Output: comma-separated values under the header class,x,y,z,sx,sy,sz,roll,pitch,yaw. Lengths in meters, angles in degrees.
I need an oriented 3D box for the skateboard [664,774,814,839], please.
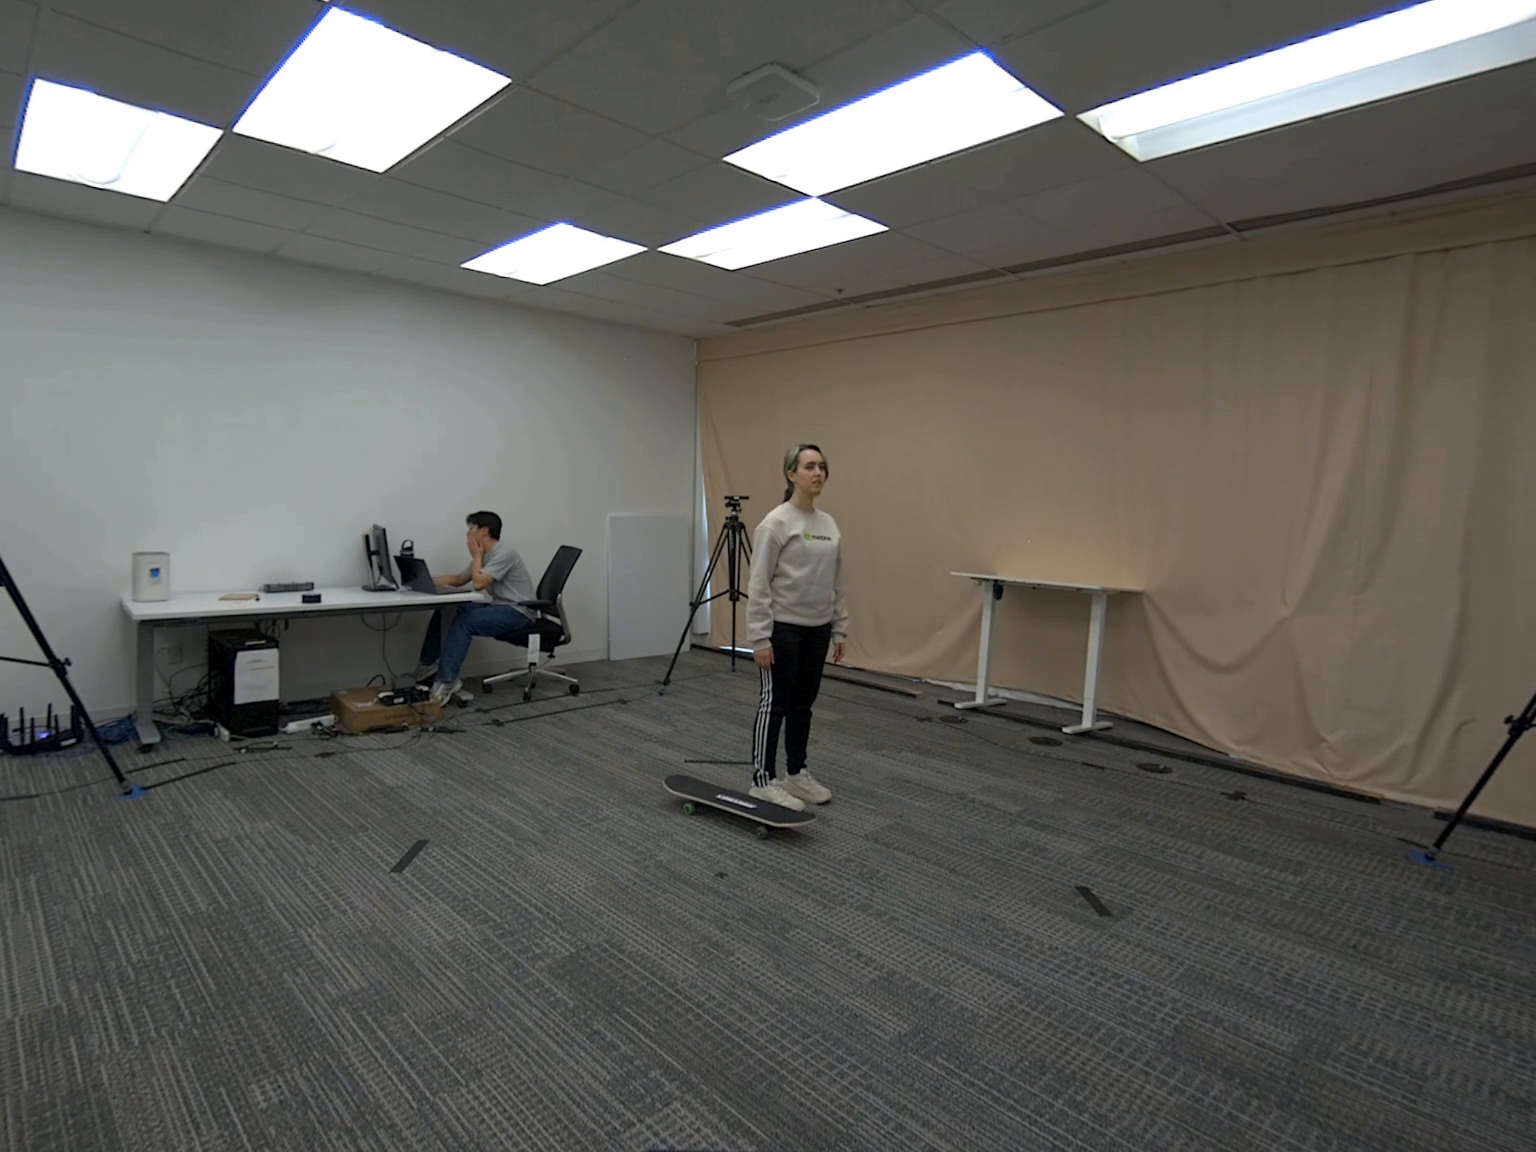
class,x,y,z,sx,sy,sz,roll,pitch,yaw
skateboard,-0.147,1.004,3.636,0.805,0.110,0.189,6,5,37
